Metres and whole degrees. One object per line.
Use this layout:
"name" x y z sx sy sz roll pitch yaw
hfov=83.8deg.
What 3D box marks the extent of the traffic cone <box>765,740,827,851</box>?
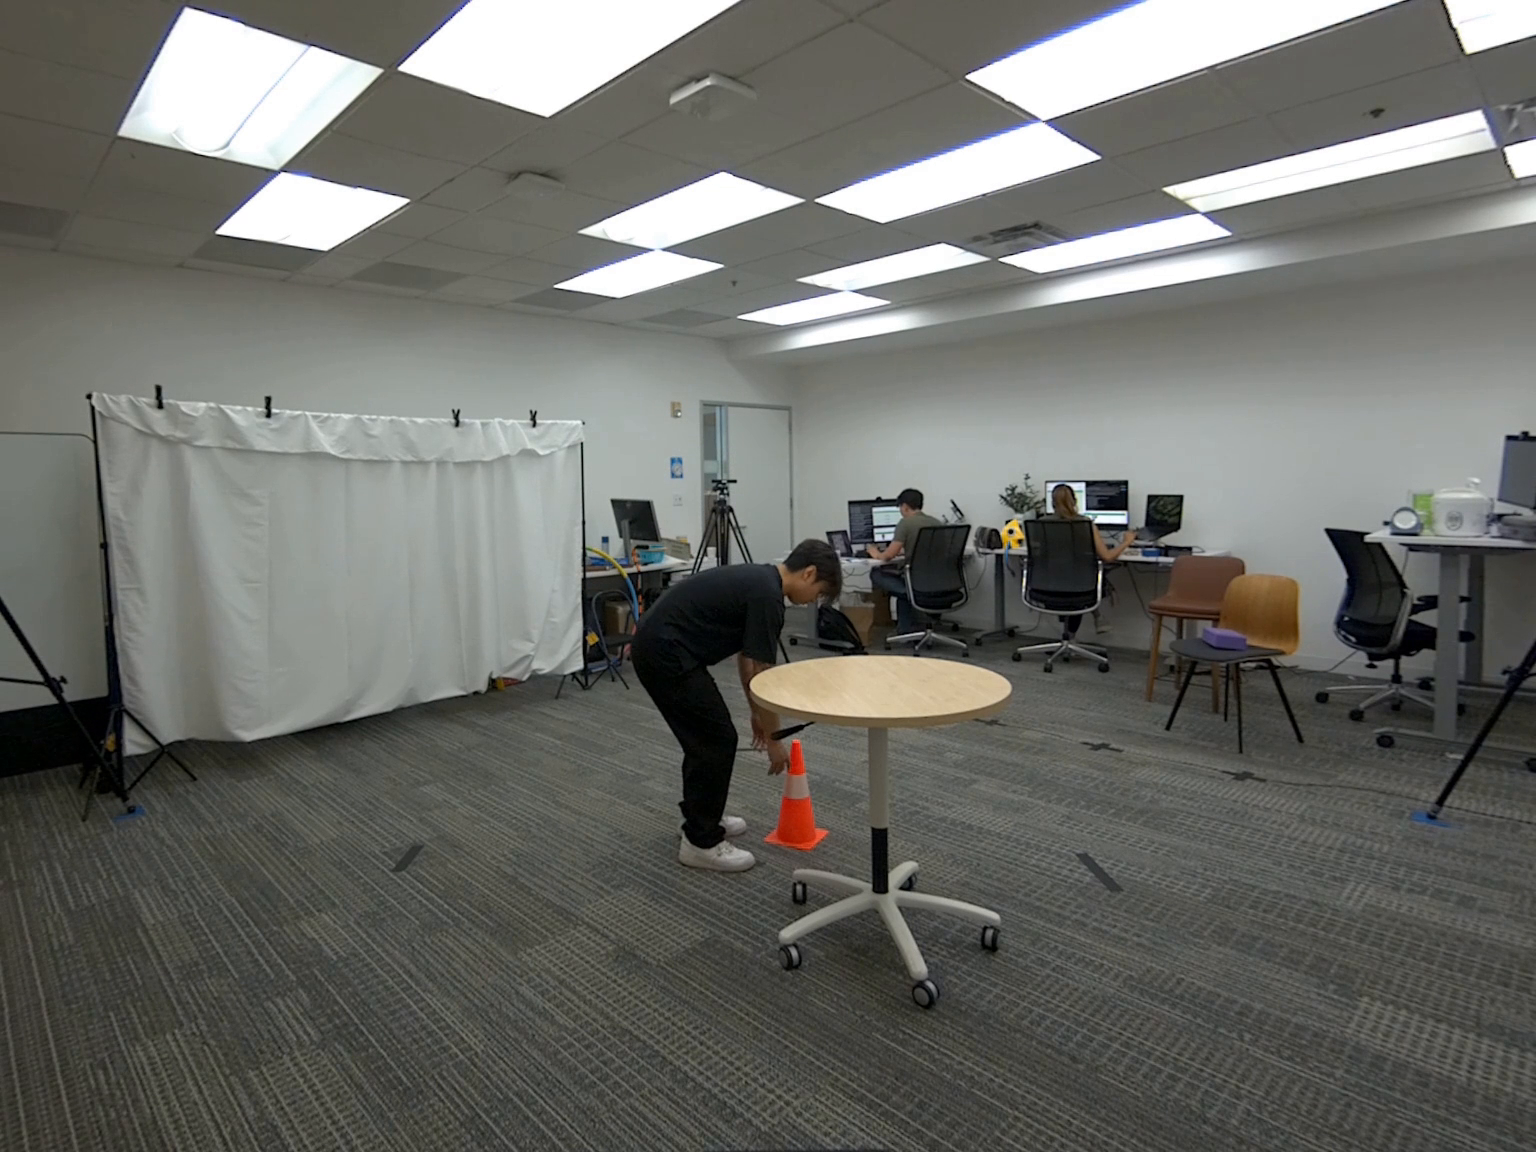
"traffic cone" 0.107 0.832 3.326 0.210 0.382 0.199 2 6 27
